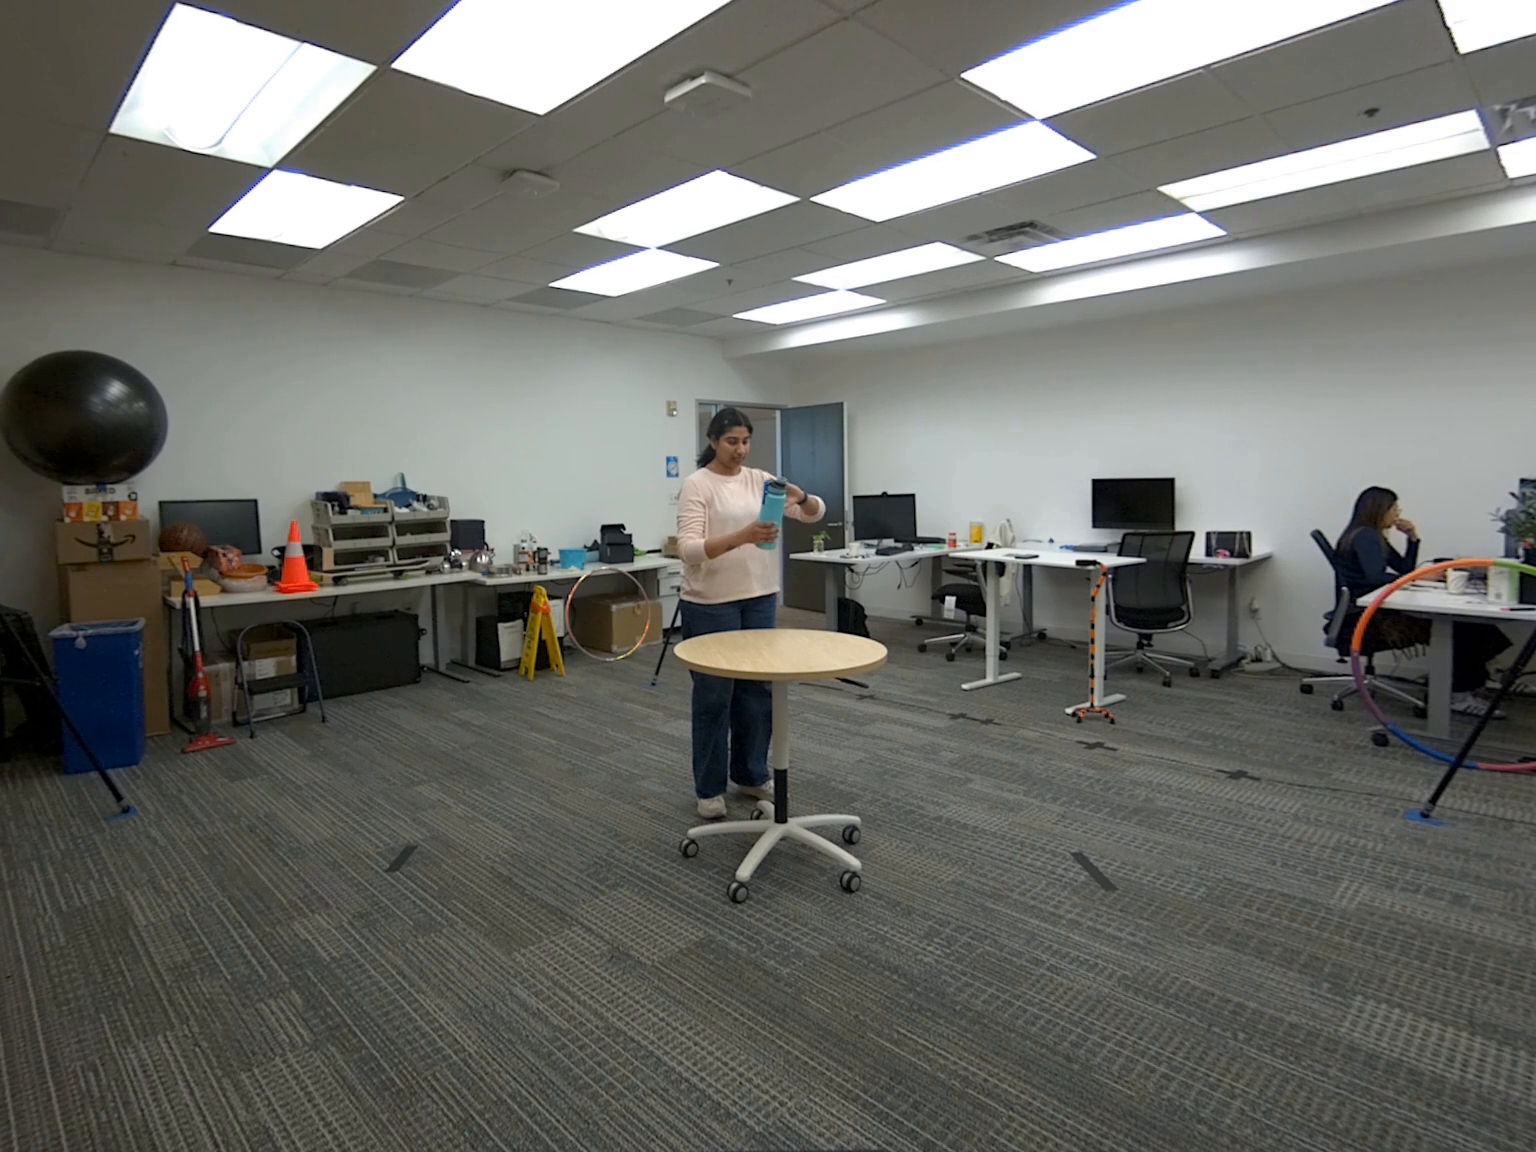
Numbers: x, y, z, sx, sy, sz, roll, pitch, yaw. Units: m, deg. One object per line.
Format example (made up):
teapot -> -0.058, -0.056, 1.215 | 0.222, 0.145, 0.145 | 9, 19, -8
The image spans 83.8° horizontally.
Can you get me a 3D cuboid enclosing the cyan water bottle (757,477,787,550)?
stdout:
cyan water bottle -> 0.009, -0.246, 3.304 | 0.092, 0.279, 0.094 | 8, 23, -5
